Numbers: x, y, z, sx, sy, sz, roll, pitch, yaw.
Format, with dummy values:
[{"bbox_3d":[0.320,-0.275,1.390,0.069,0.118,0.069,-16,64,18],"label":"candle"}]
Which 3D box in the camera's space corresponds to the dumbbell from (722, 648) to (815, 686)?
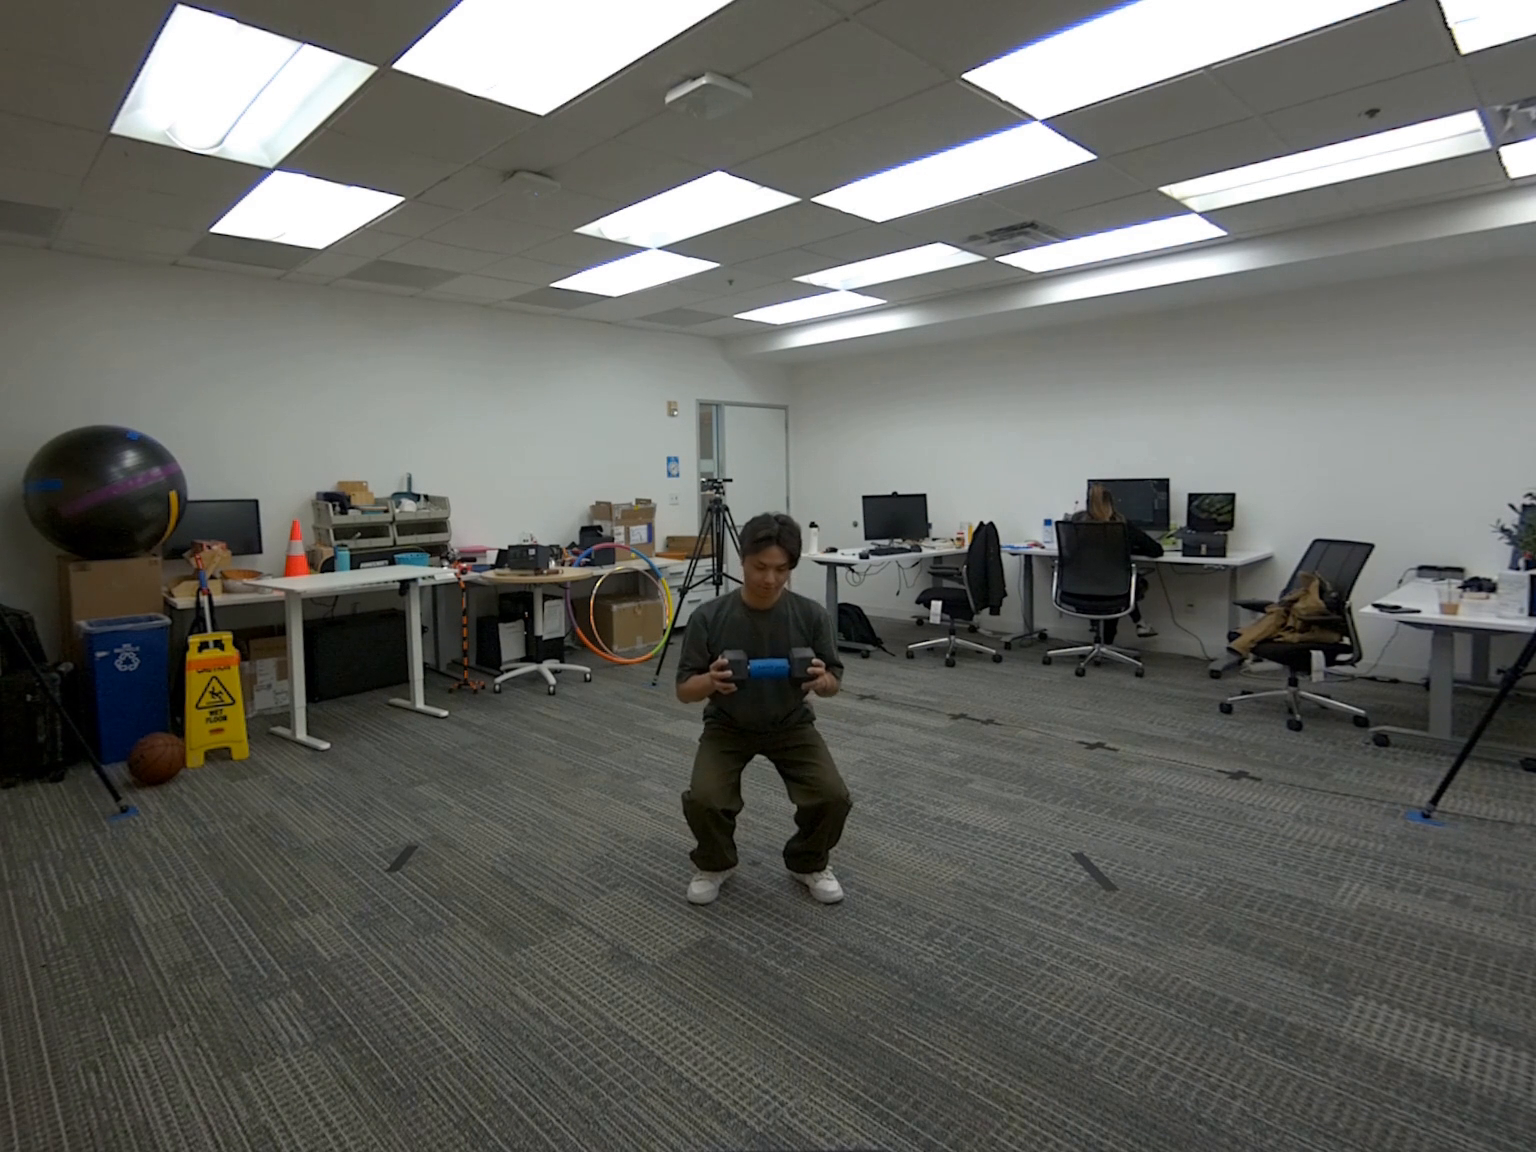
[{"bbox_3d":[-0.002,0.289,2.667,0.293,0.112,0.120,-2,-40,-3],"label":"dumbbell"}]
